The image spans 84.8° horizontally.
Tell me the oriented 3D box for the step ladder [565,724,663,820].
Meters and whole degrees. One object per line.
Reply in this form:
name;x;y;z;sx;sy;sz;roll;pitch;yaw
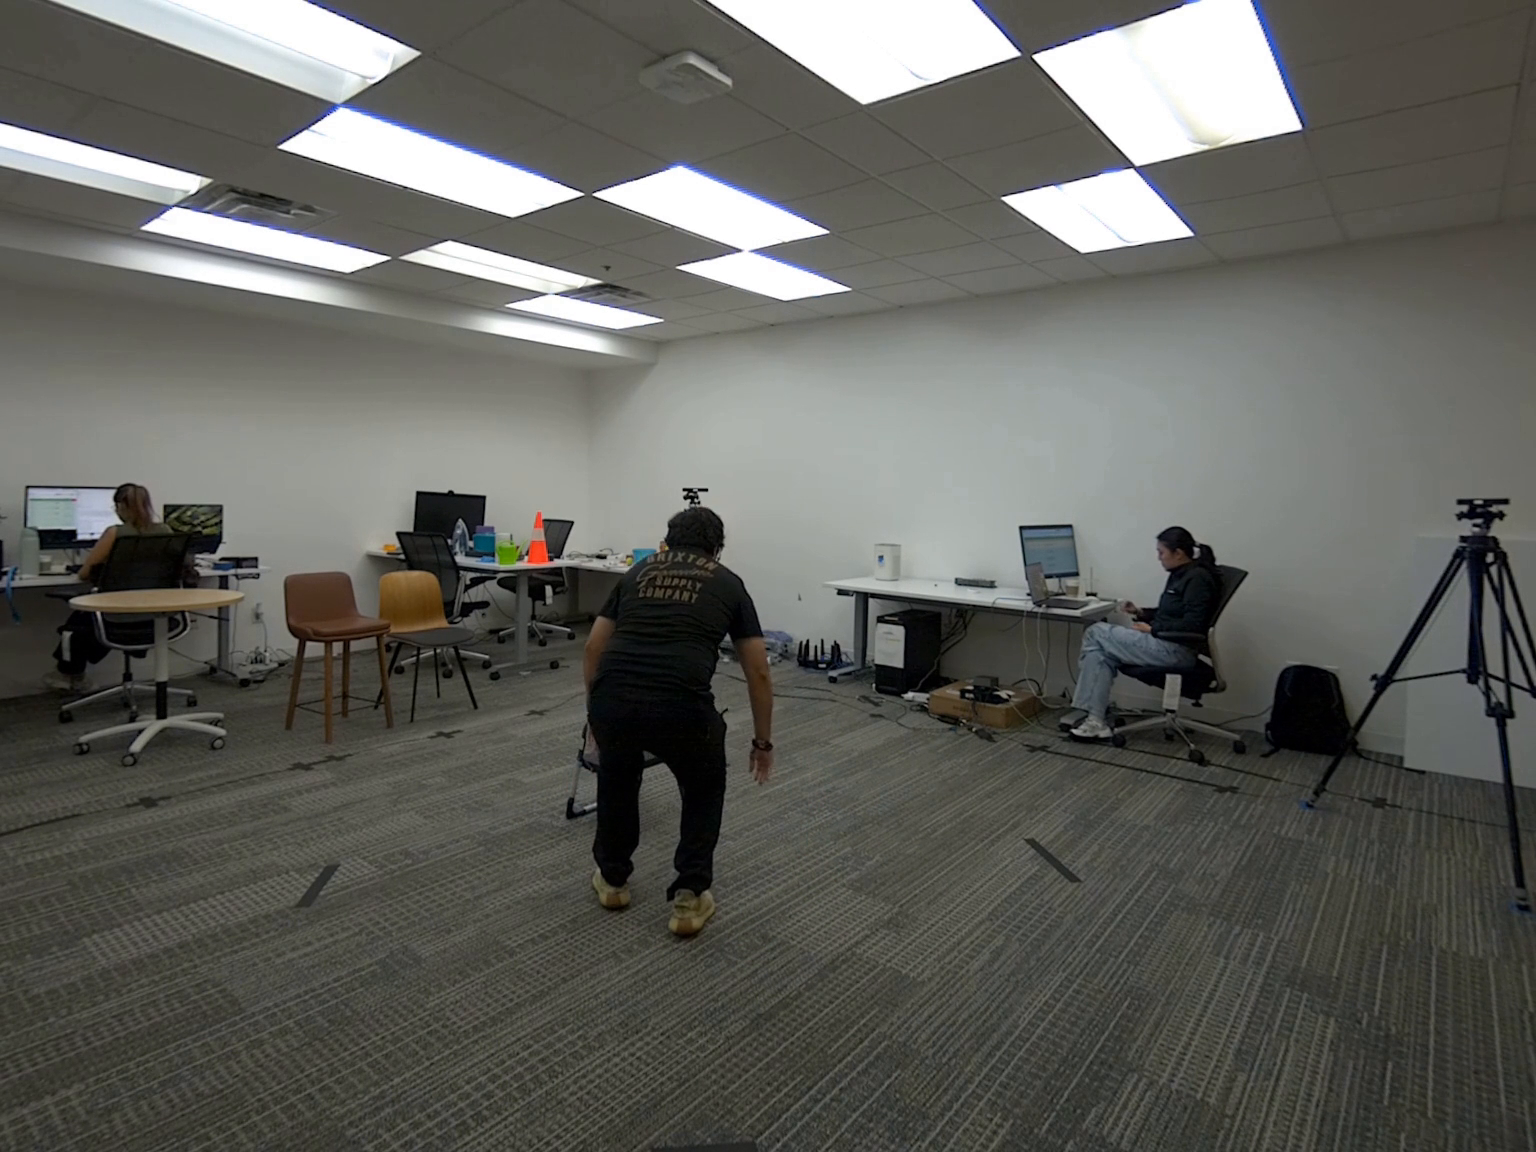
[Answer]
step ladder;-0.594;0.711;3.598;0.361;0.605;0.418;3;3;38
